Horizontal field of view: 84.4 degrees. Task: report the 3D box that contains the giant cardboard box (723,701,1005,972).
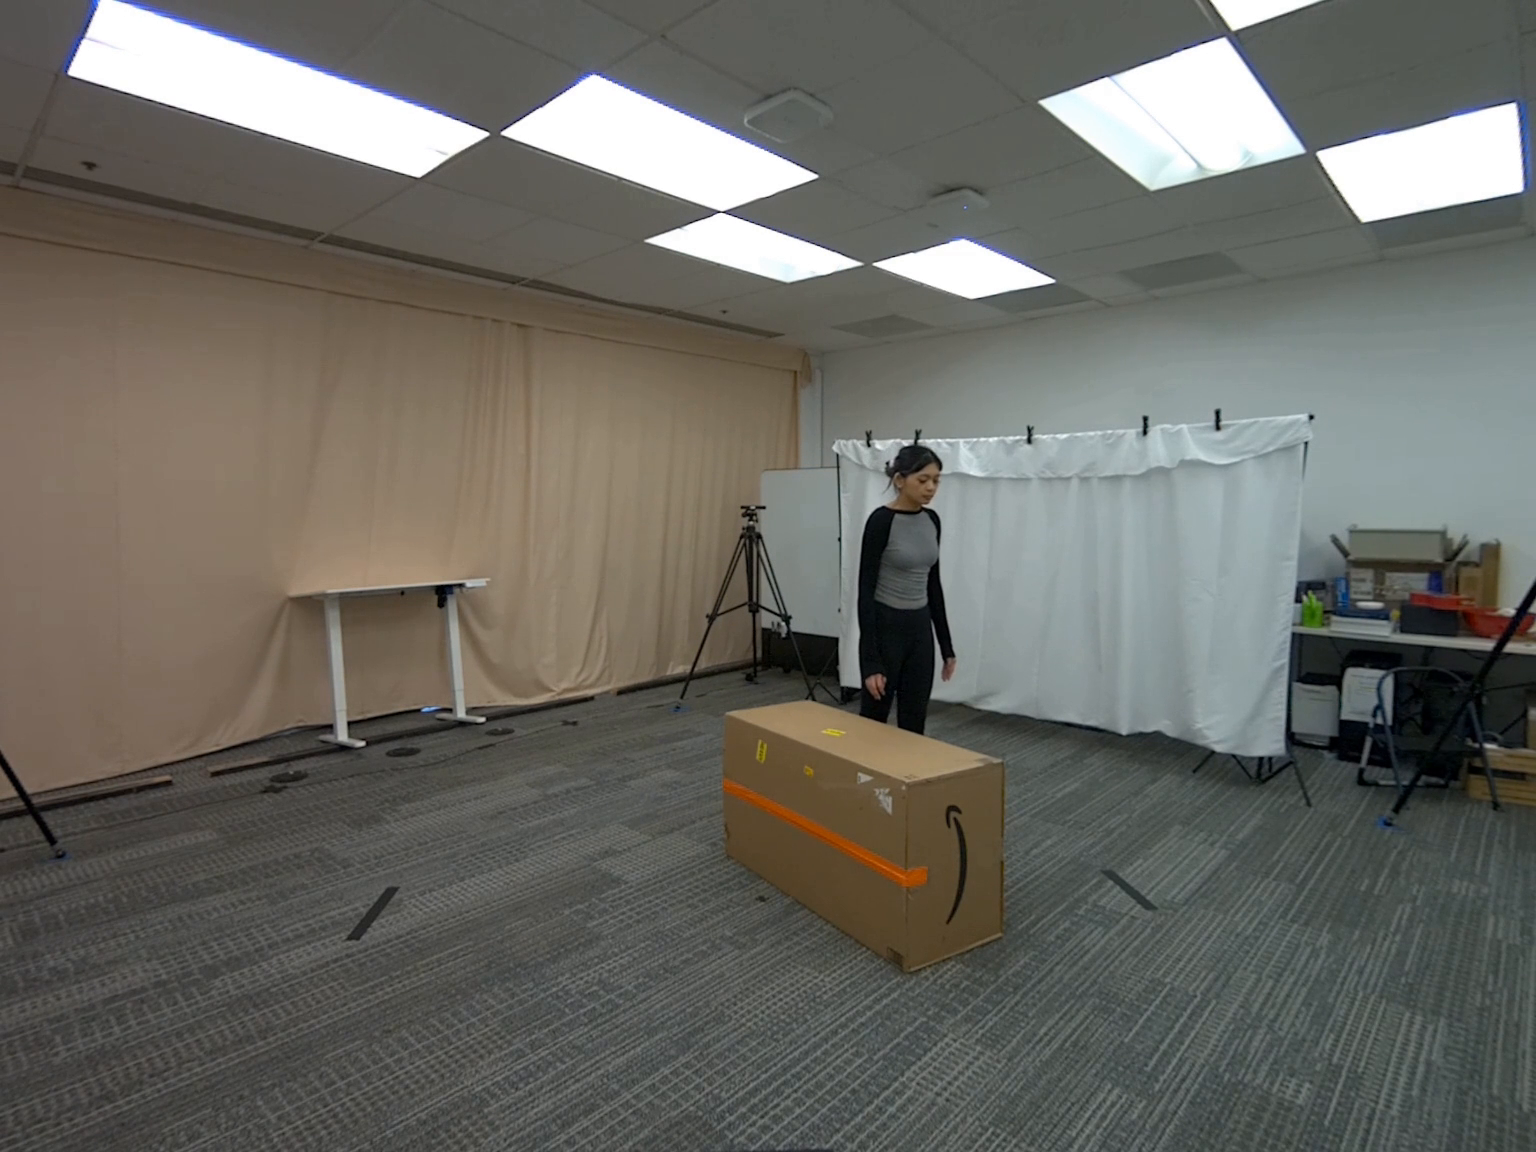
[{"bbox_3d":[0.290,0.852,3.023,0.414,0.576,1.057,-2,4,-34],"label":"giant cardboard box"}]
